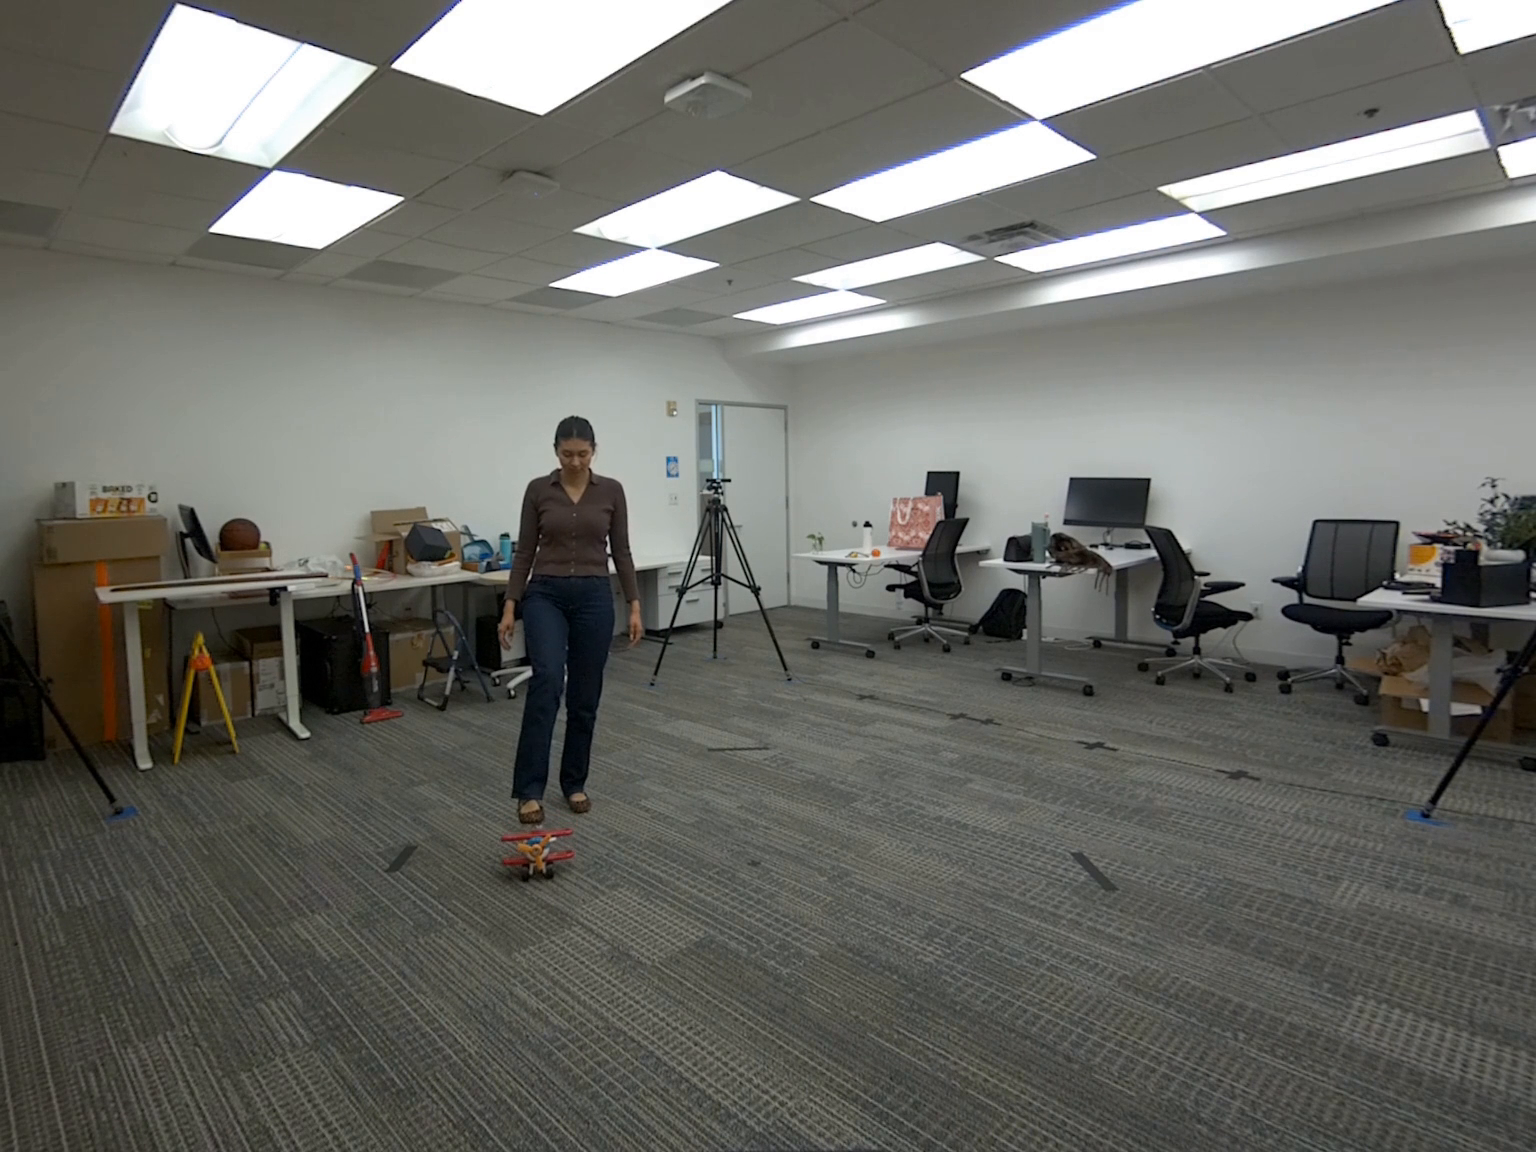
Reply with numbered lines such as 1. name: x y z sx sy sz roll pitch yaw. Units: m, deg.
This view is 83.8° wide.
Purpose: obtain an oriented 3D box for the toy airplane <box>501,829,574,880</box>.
1. toy airplane: -0.847 0.989 3.100 0.245 0.155 0.267 -7 8 -38
